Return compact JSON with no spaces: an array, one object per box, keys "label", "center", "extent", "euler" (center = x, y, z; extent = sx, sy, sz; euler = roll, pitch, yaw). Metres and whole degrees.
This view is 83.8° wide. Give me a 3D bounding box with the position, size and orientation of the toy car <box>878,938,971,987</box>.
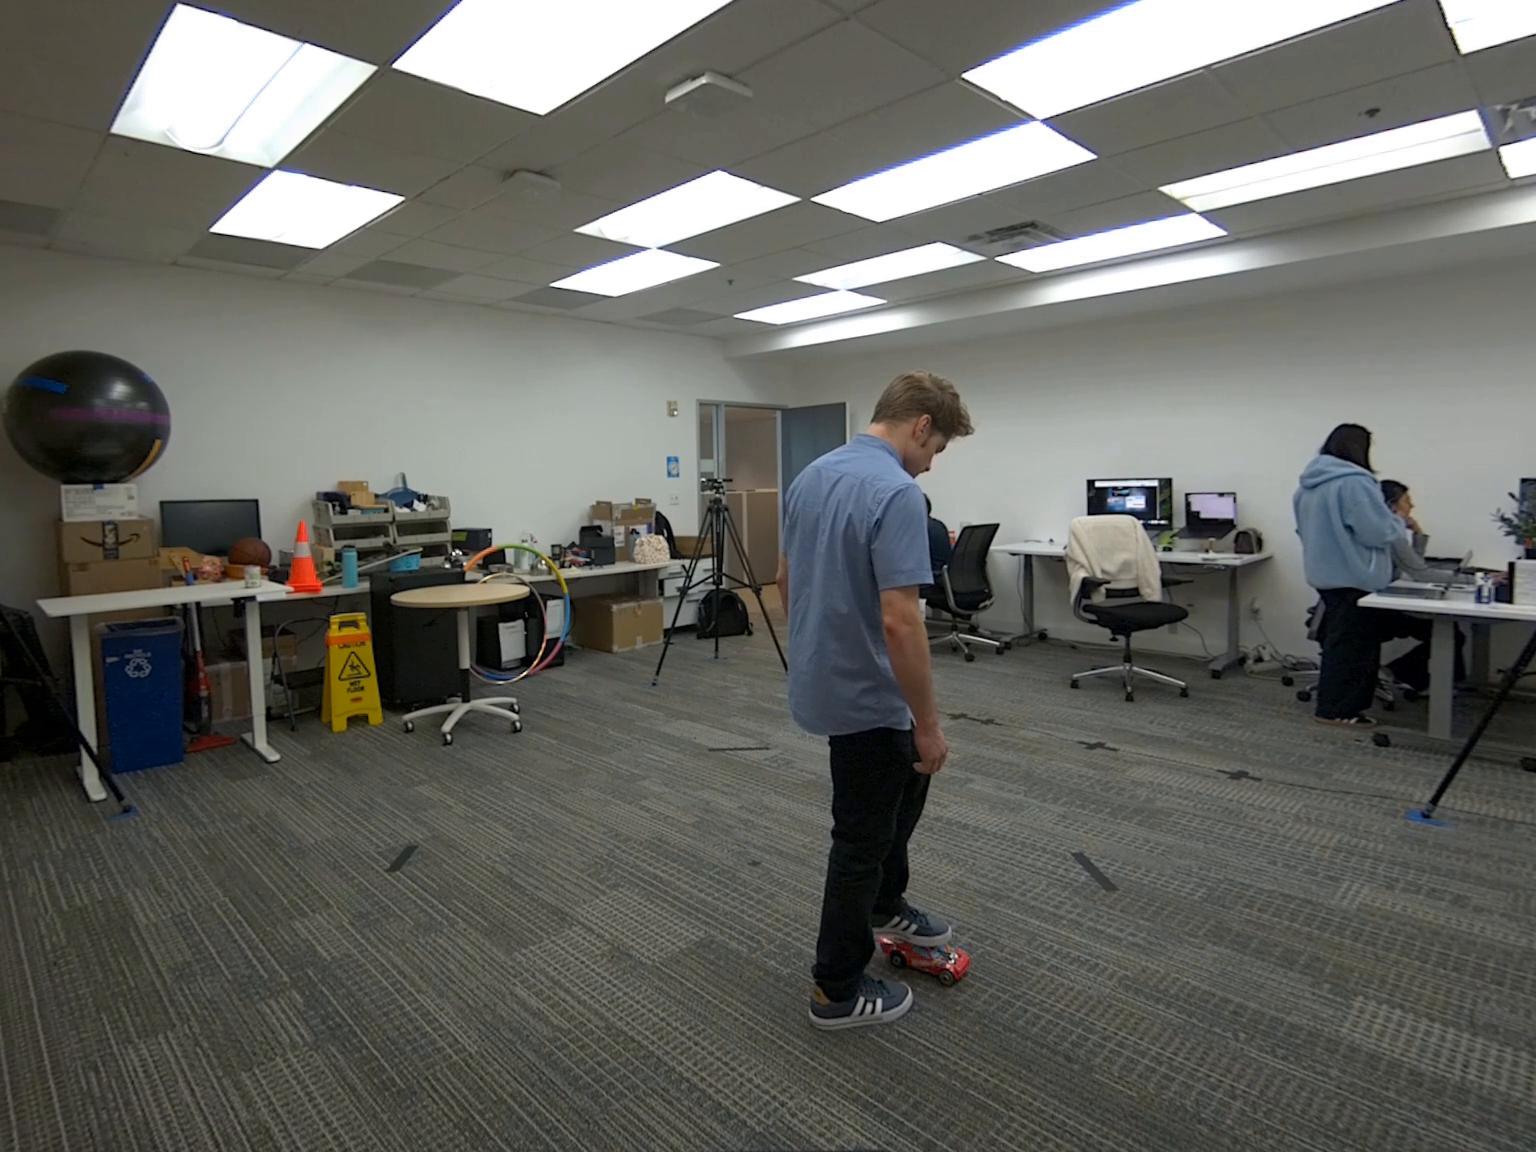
[{"label":"toy car","center":[0.449,1.085,2.442],"extent":[0.263,0.082,0.127],"euler":[16,17,34]}]
